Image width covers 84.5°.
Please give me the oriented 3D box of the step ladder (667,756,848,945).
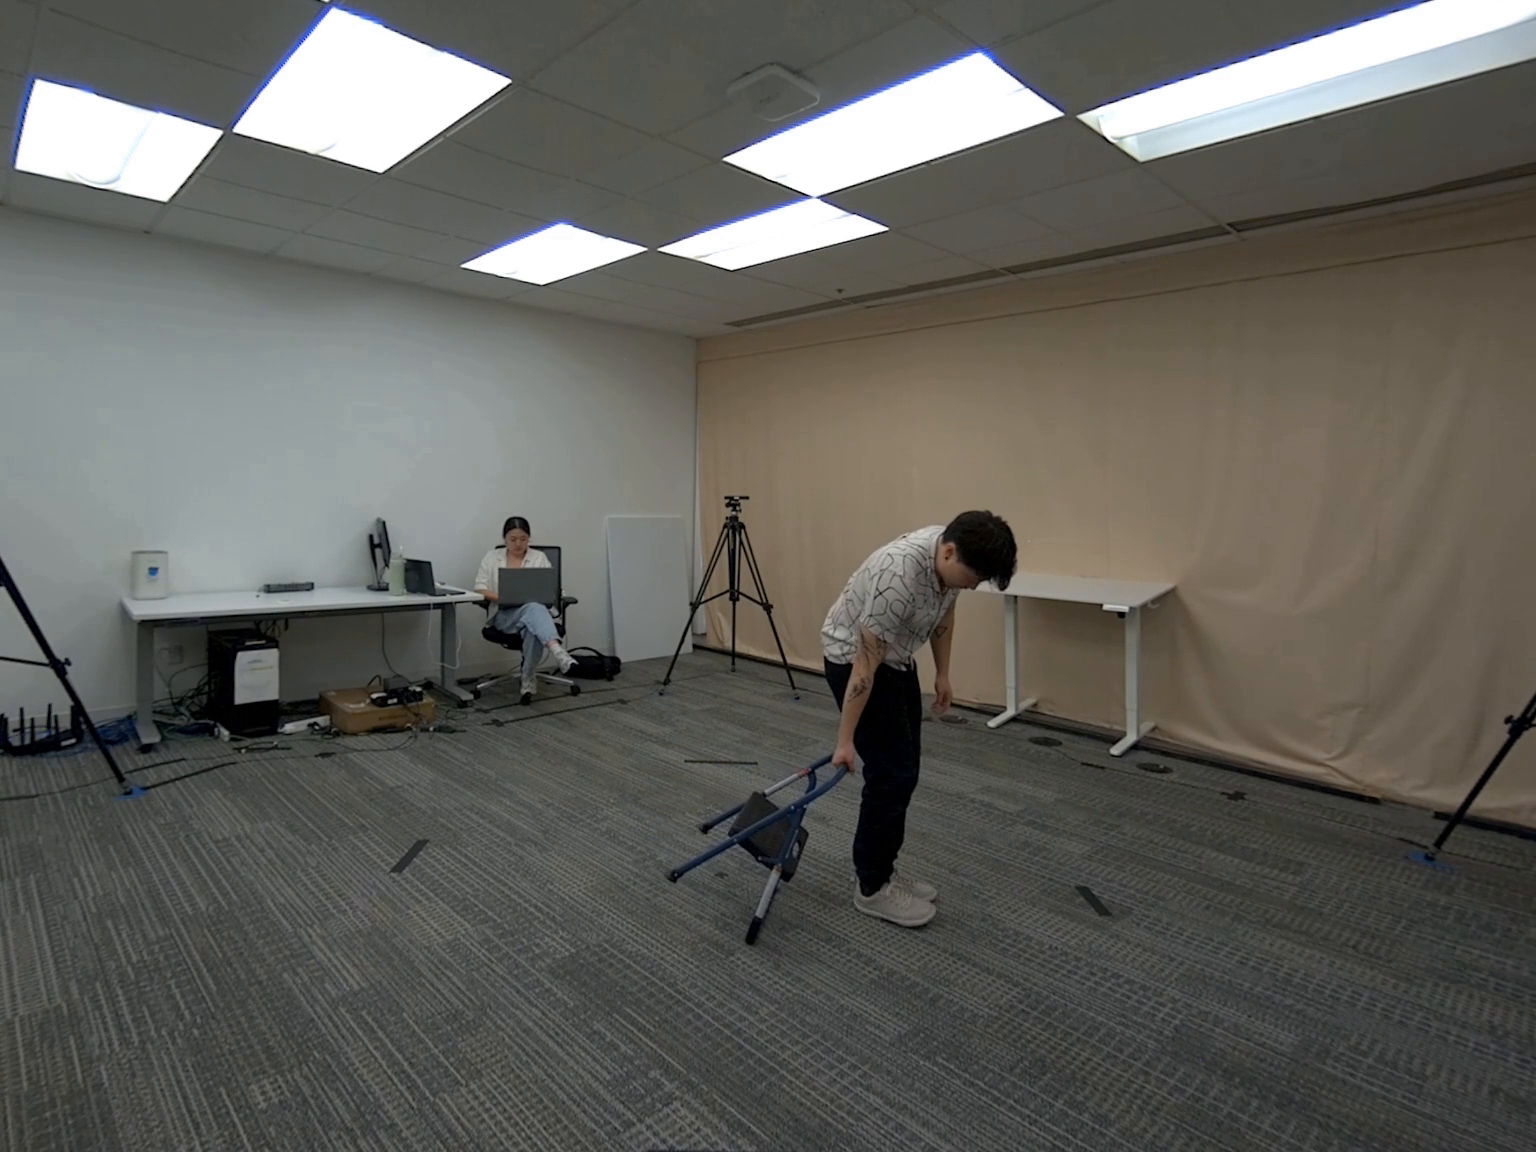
[{"bbox_3d":[0.015,0.801,2.776,0.352,0.605,0.427,37,11,7],"label":"step ladder"}]
